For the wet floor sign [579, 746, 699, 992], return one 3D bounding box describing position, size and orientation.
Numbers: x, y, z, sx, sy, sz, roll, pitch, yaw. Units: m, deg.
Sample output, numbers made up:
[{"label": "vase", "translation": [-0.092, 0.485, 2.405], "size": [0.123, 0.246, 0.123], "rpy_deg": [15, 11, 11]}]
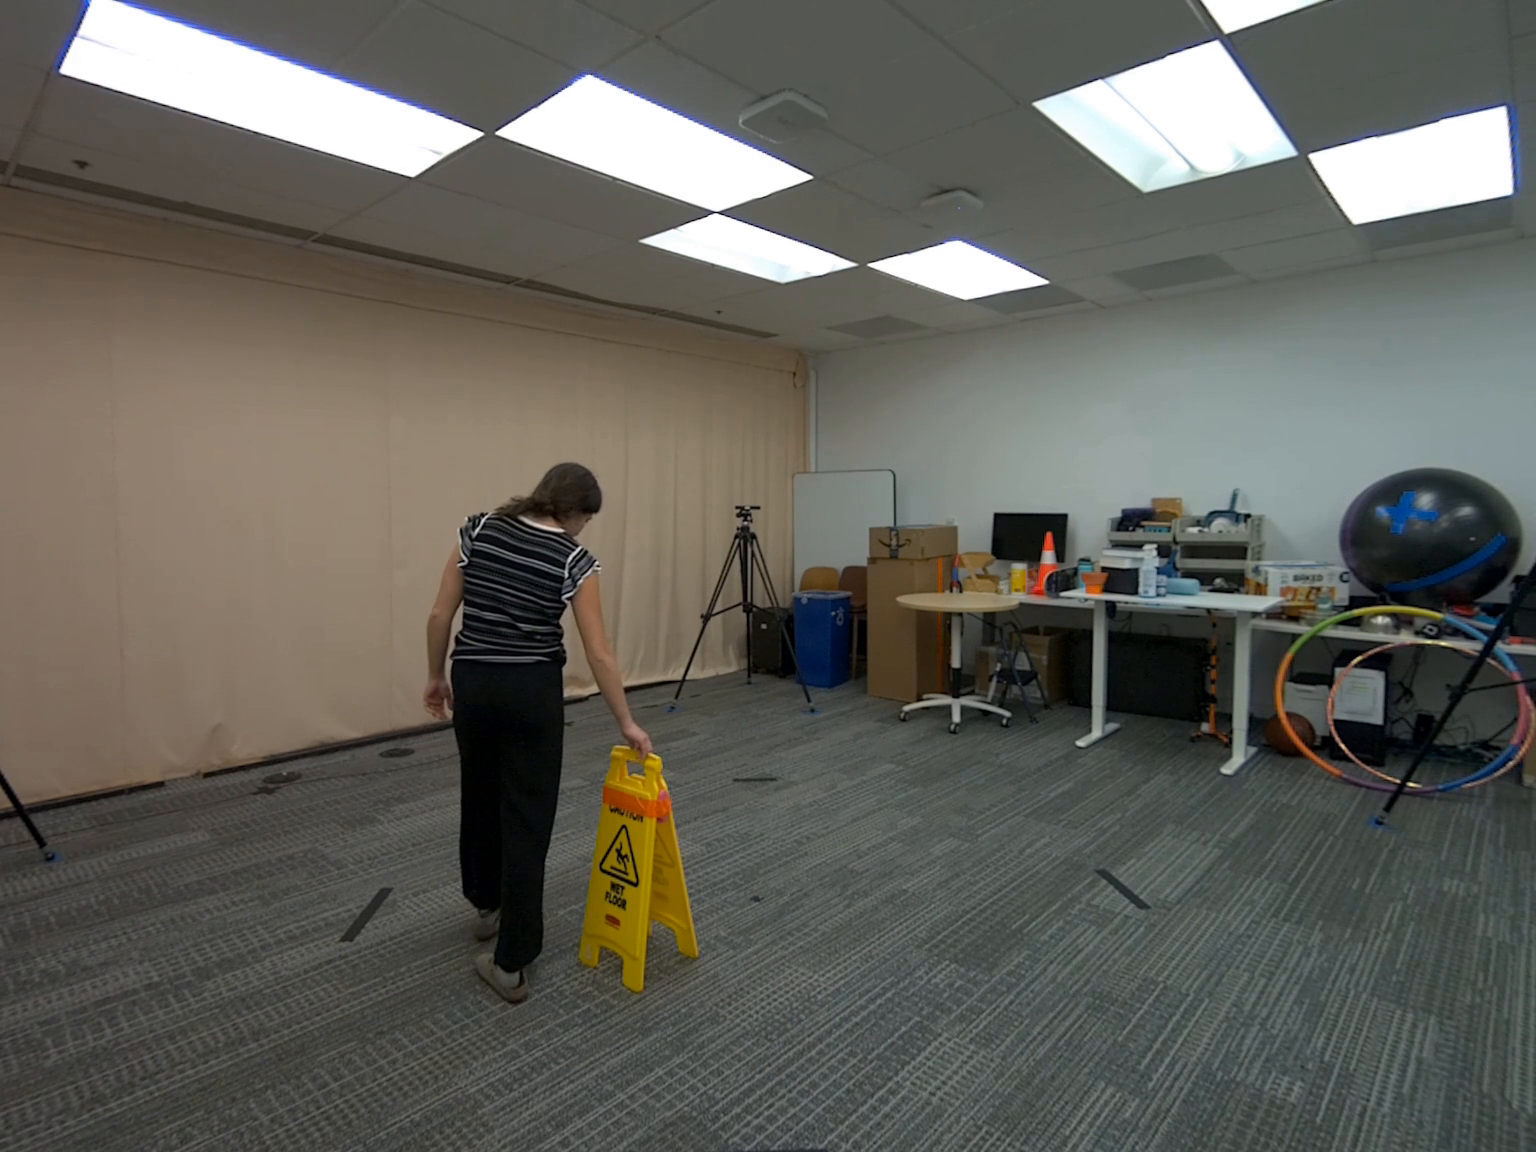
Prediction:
[{"label": "wet floor sign", "translation": [-0.401, 0.859, 2.562], "size": [0.291, 0.645, 0.281], "rpy_deg": [2, 4, 38]}]
